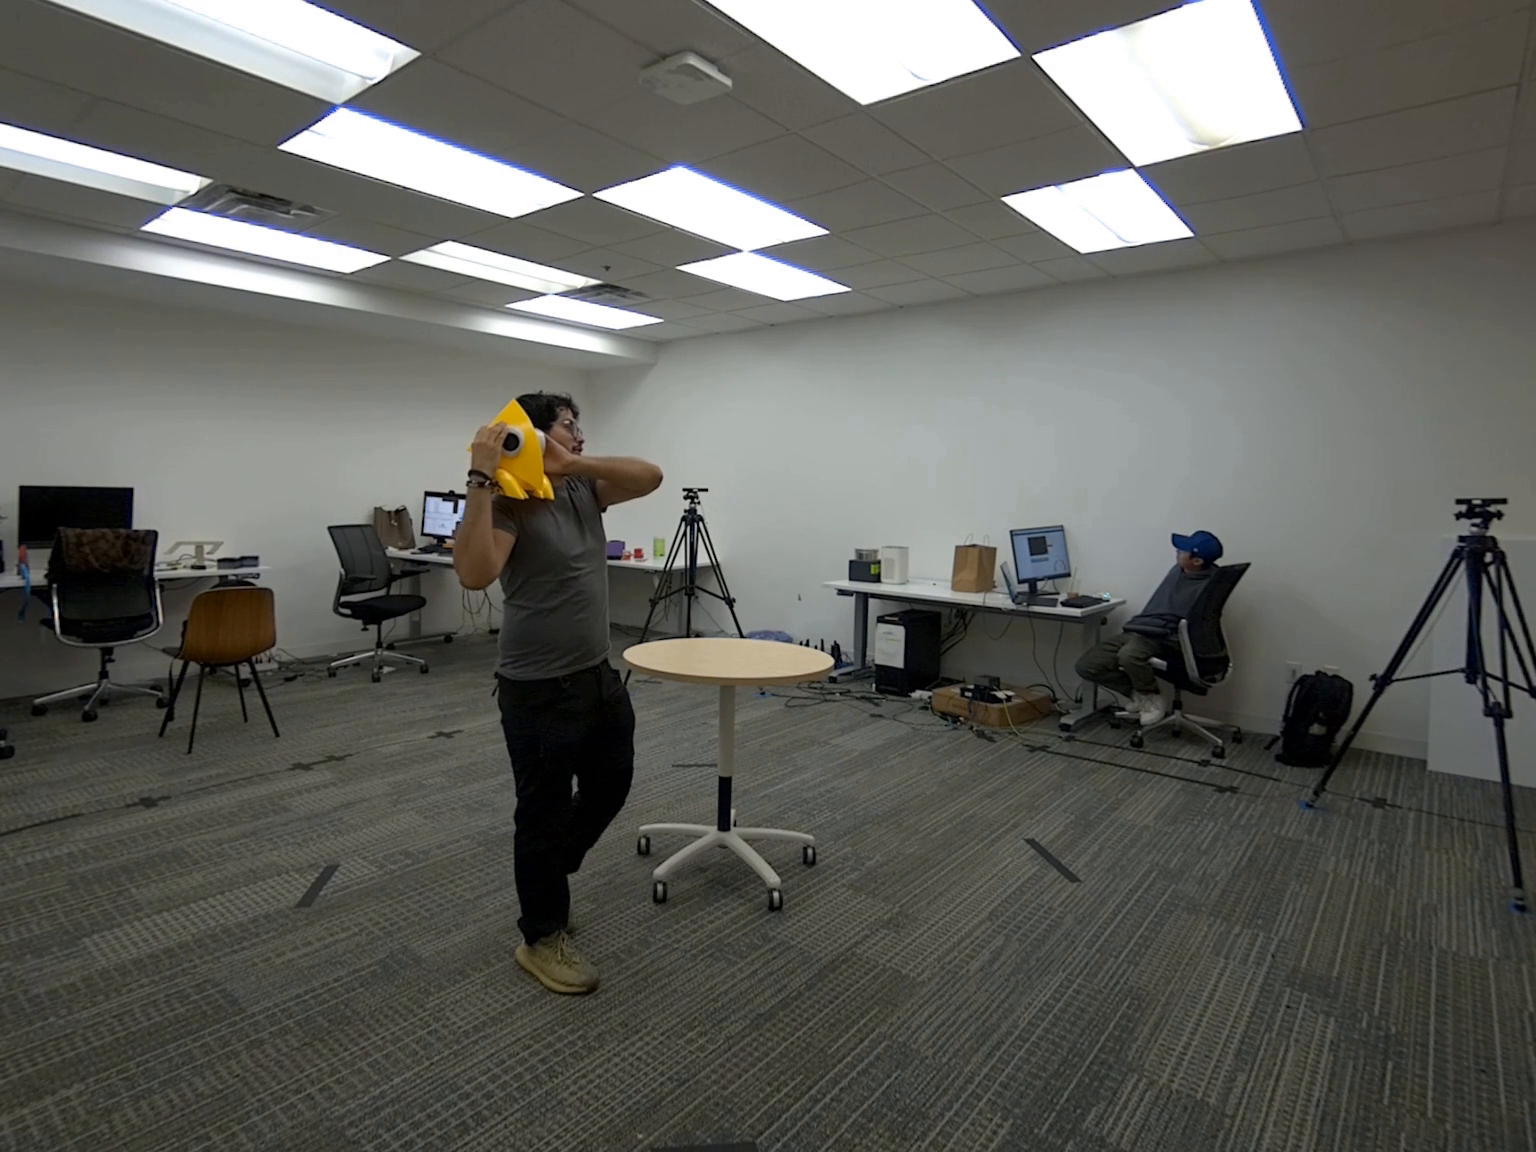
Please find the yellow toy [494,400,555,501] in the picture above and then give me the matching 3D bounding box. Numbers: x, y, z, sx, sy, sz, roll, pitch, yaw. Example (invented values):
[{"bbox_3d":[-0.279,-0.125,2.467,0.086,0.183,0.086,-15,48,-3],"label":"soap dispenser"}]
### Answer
[{"bbox_3d":[-0.659,-0.338,2.226,0.199,0.229,0.200,20,11,22],"label":"yellow toy"}]
